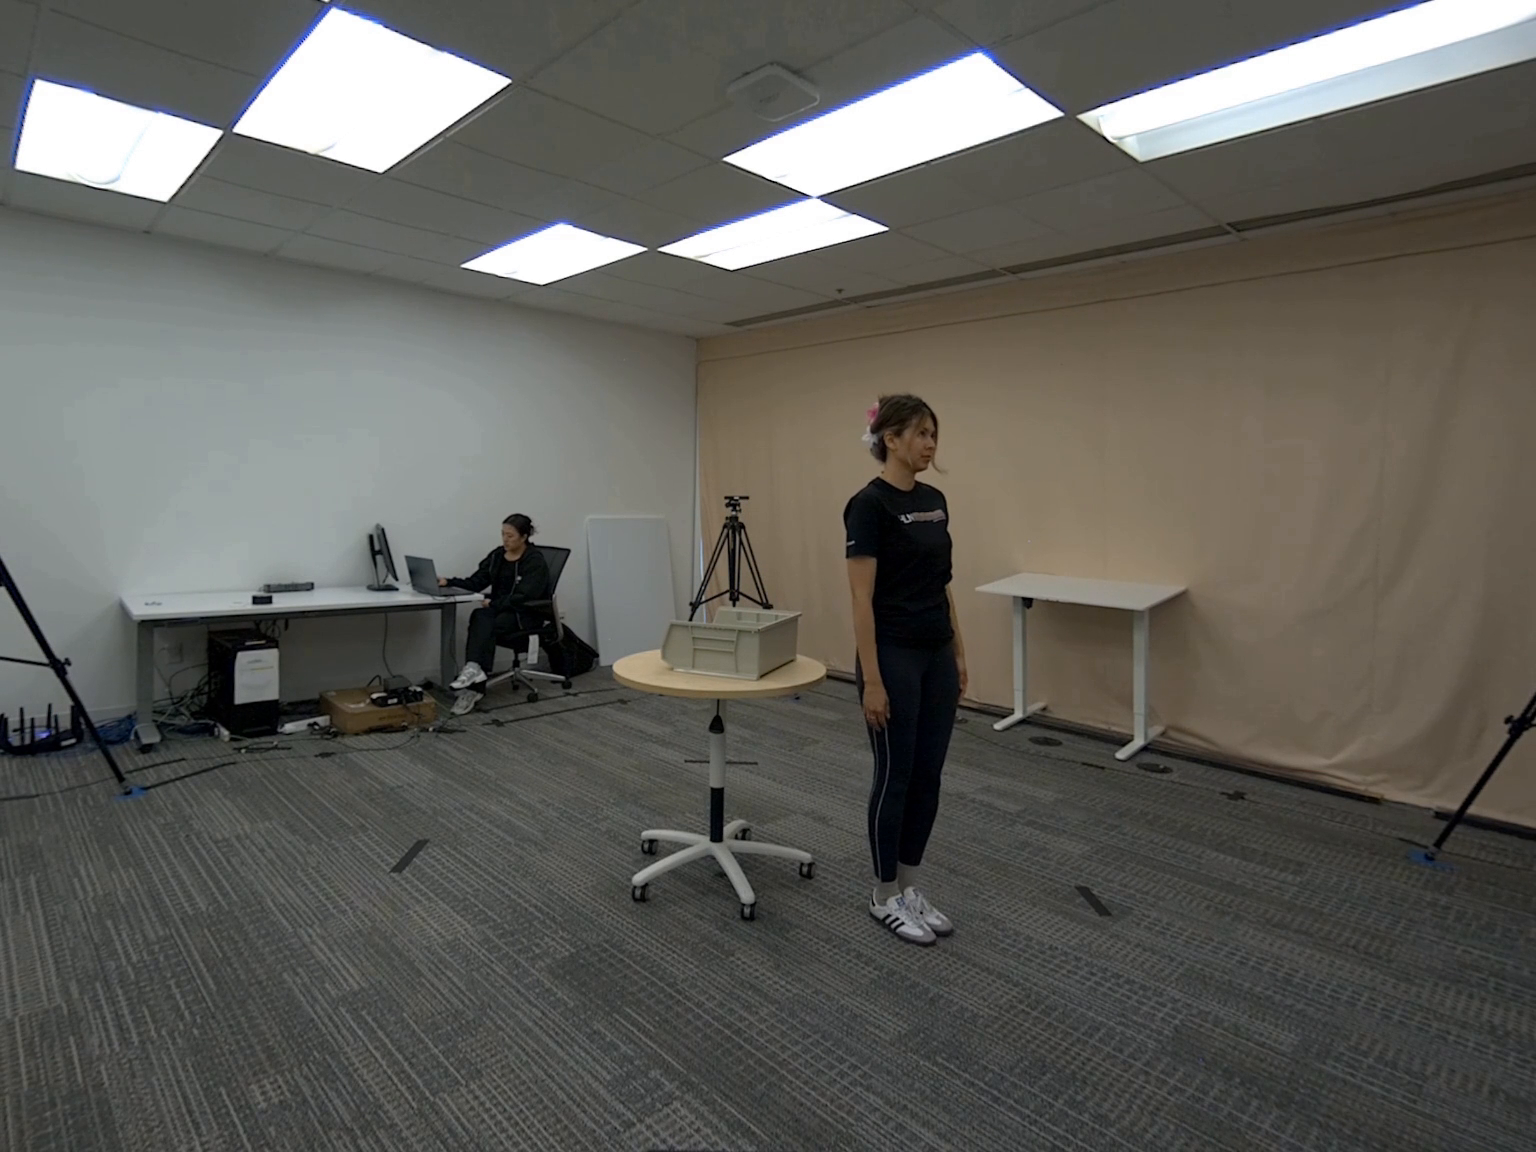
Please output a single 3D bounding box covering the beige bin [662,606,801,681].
[{"bbox_3d":[-0.125,0.236,3.050,0.384,0.188,0.416,4,6,22],"label":"beige bin"}]
